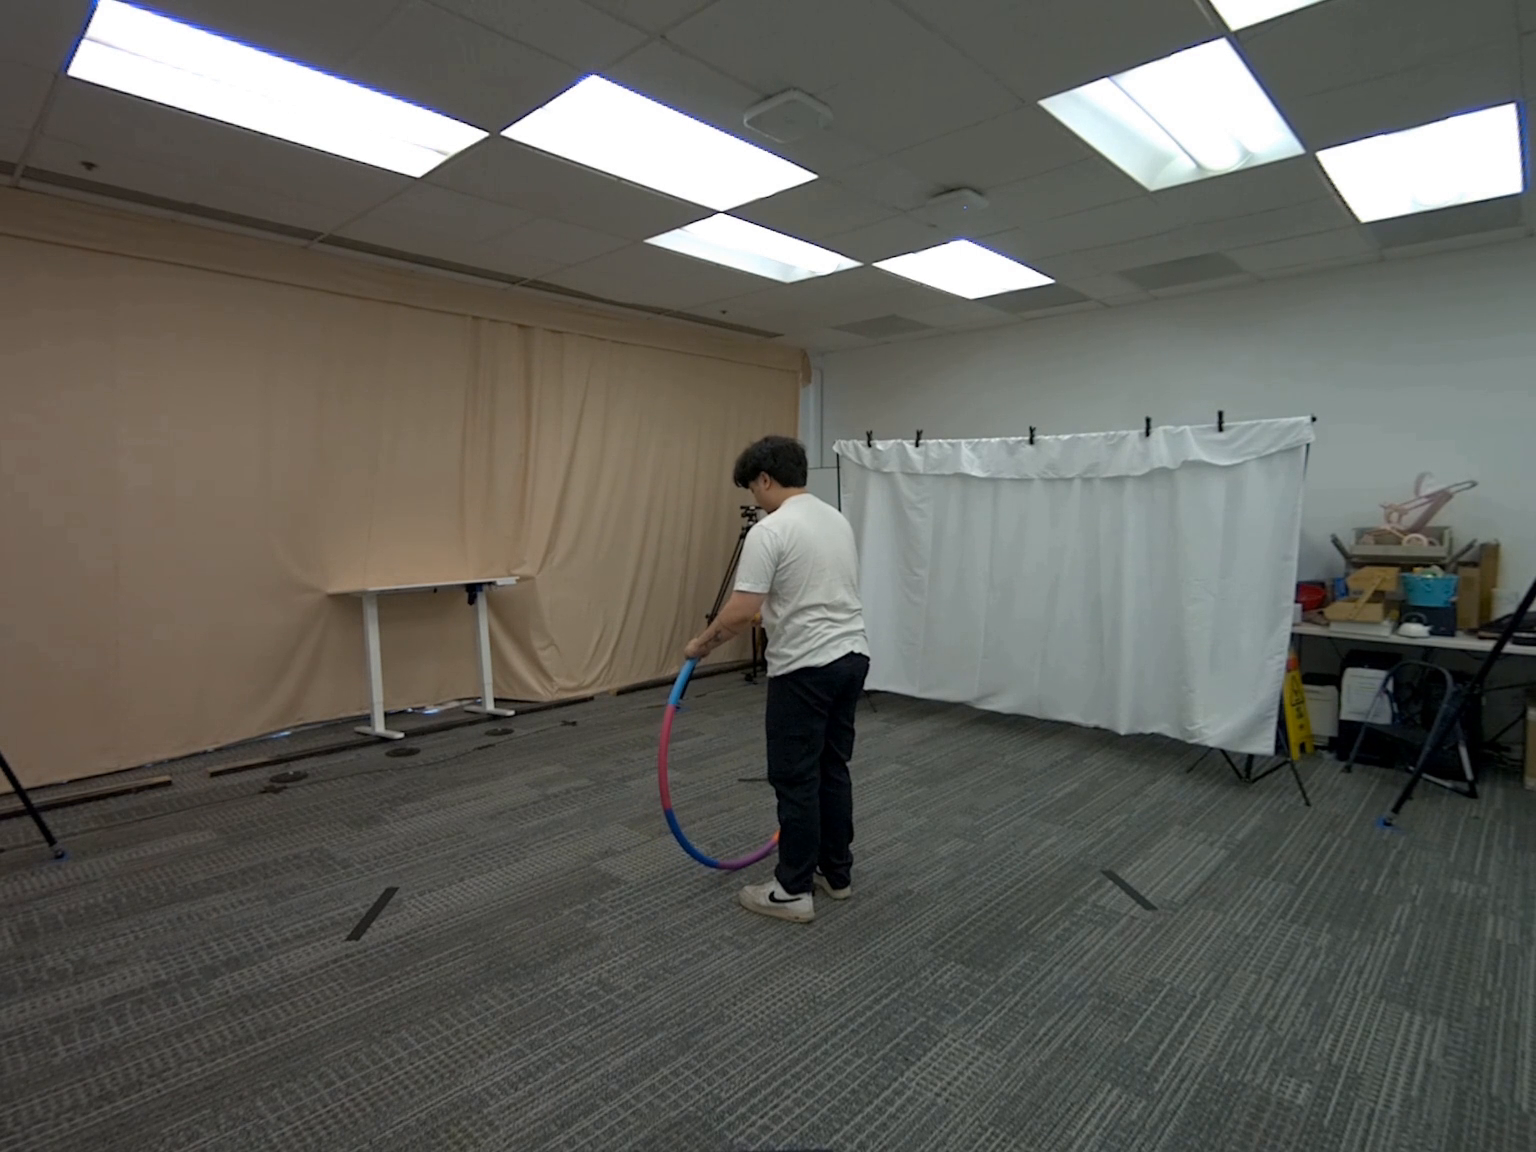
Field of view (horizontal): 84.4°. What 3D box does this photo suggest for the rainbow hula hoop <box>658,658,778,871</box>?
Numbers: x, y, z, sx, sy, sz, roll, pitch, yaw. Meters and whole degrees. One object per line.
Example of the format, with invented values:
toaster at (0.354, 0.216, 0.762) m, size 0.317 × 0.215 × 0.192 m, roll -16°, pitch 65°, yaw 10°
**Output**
rainbow hula hoop at (-0.068, 0.630, 3.253) m, size 0.053 × 0.983 × 0.955 m, roll 3°, pitch 5°, yaw 41°
